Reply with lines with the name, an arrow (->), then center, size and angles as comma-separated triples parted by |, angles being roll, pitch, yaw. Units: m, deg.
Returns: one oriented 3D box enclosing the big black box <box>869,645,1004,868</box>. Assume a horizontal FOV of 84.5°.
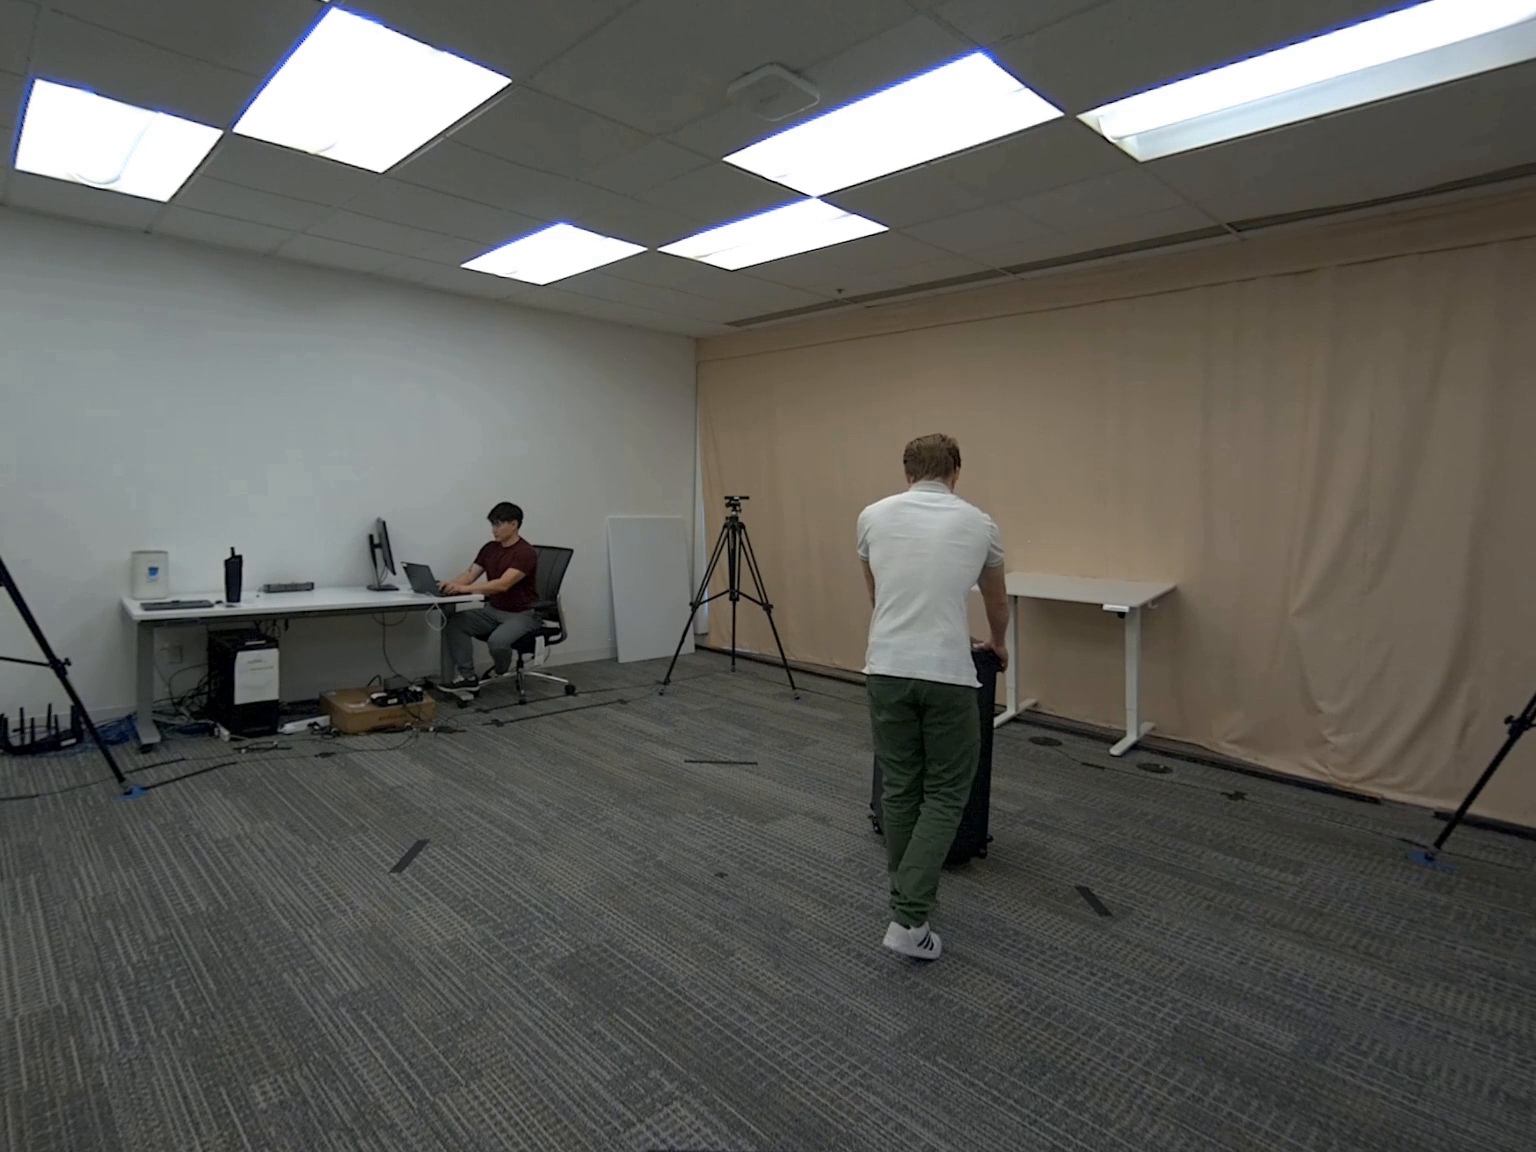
big black box -> 0.645, 0.679, 3.374 | 0.384, 0.866, 0.526 | 3, 4, -3
